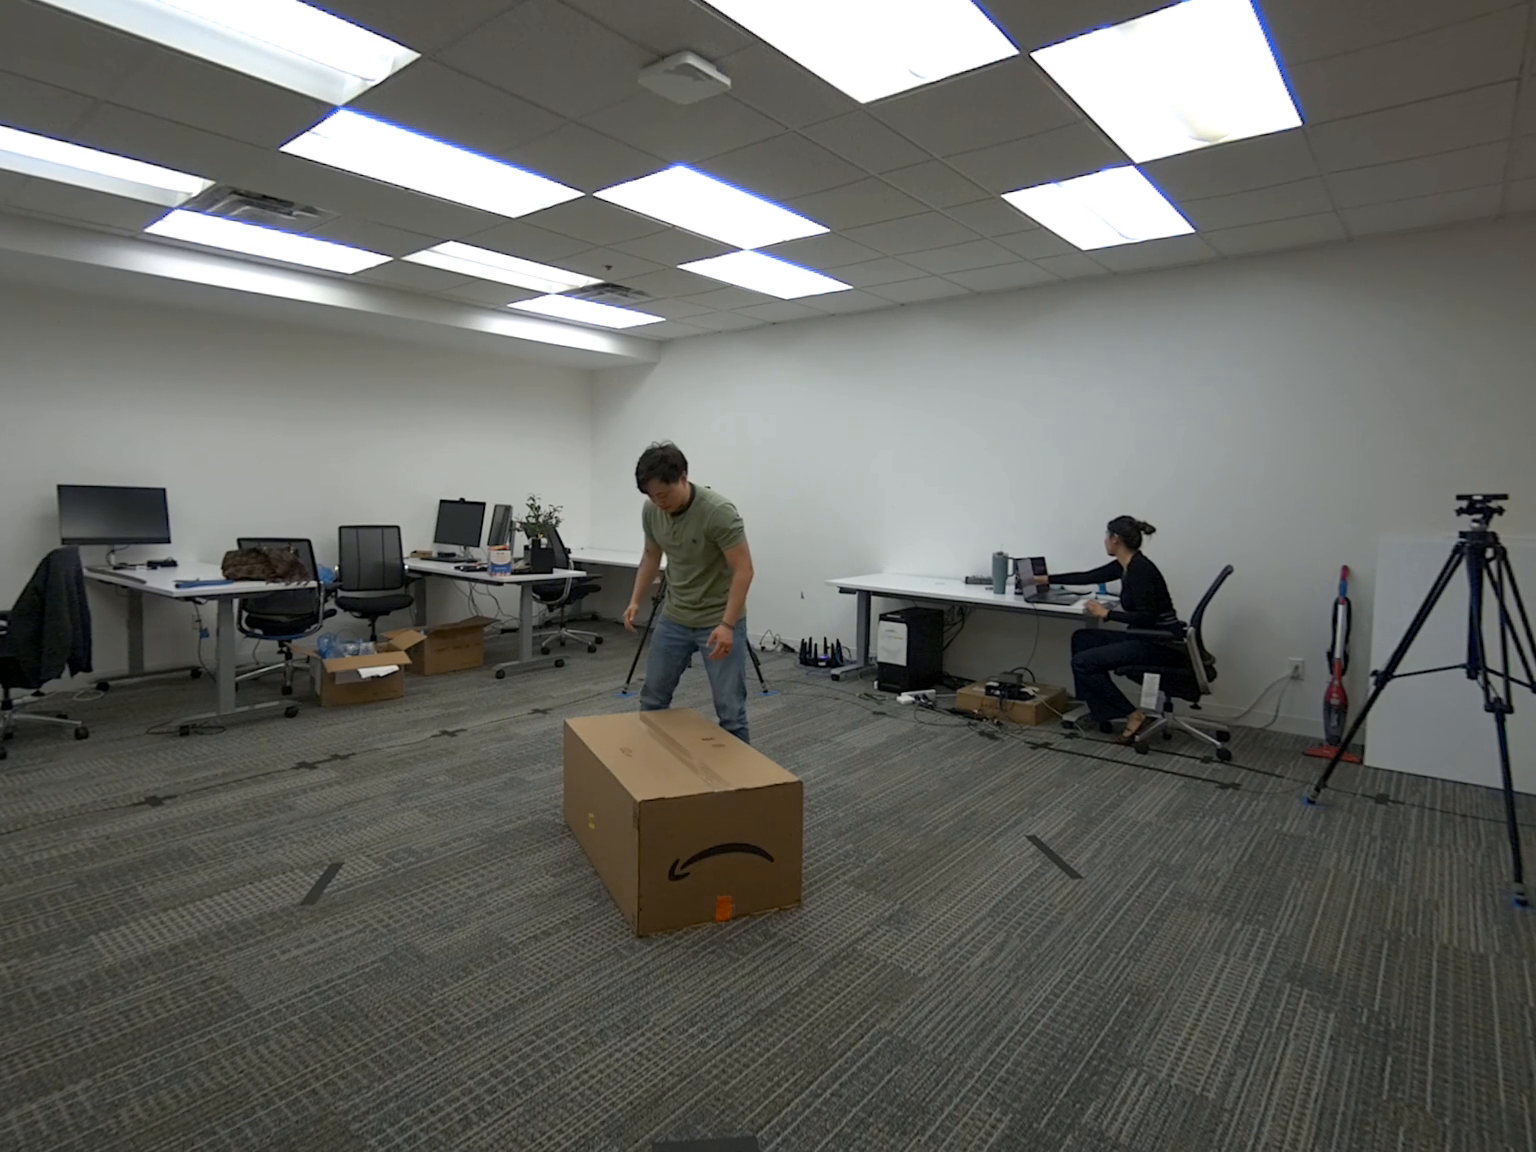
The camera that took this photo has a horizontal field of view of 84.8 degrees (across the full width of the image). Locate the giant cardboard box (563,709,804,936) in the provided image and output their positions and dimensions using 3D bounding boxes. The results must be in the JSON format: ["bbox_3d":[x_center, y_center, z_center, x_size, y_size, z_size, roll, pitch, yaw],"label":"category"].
[{"bbox_3d":[-0.377,0.841,3.175,0.564,0.425,1.054,-1,5,-25],"label":"giant cardboard box"}]
